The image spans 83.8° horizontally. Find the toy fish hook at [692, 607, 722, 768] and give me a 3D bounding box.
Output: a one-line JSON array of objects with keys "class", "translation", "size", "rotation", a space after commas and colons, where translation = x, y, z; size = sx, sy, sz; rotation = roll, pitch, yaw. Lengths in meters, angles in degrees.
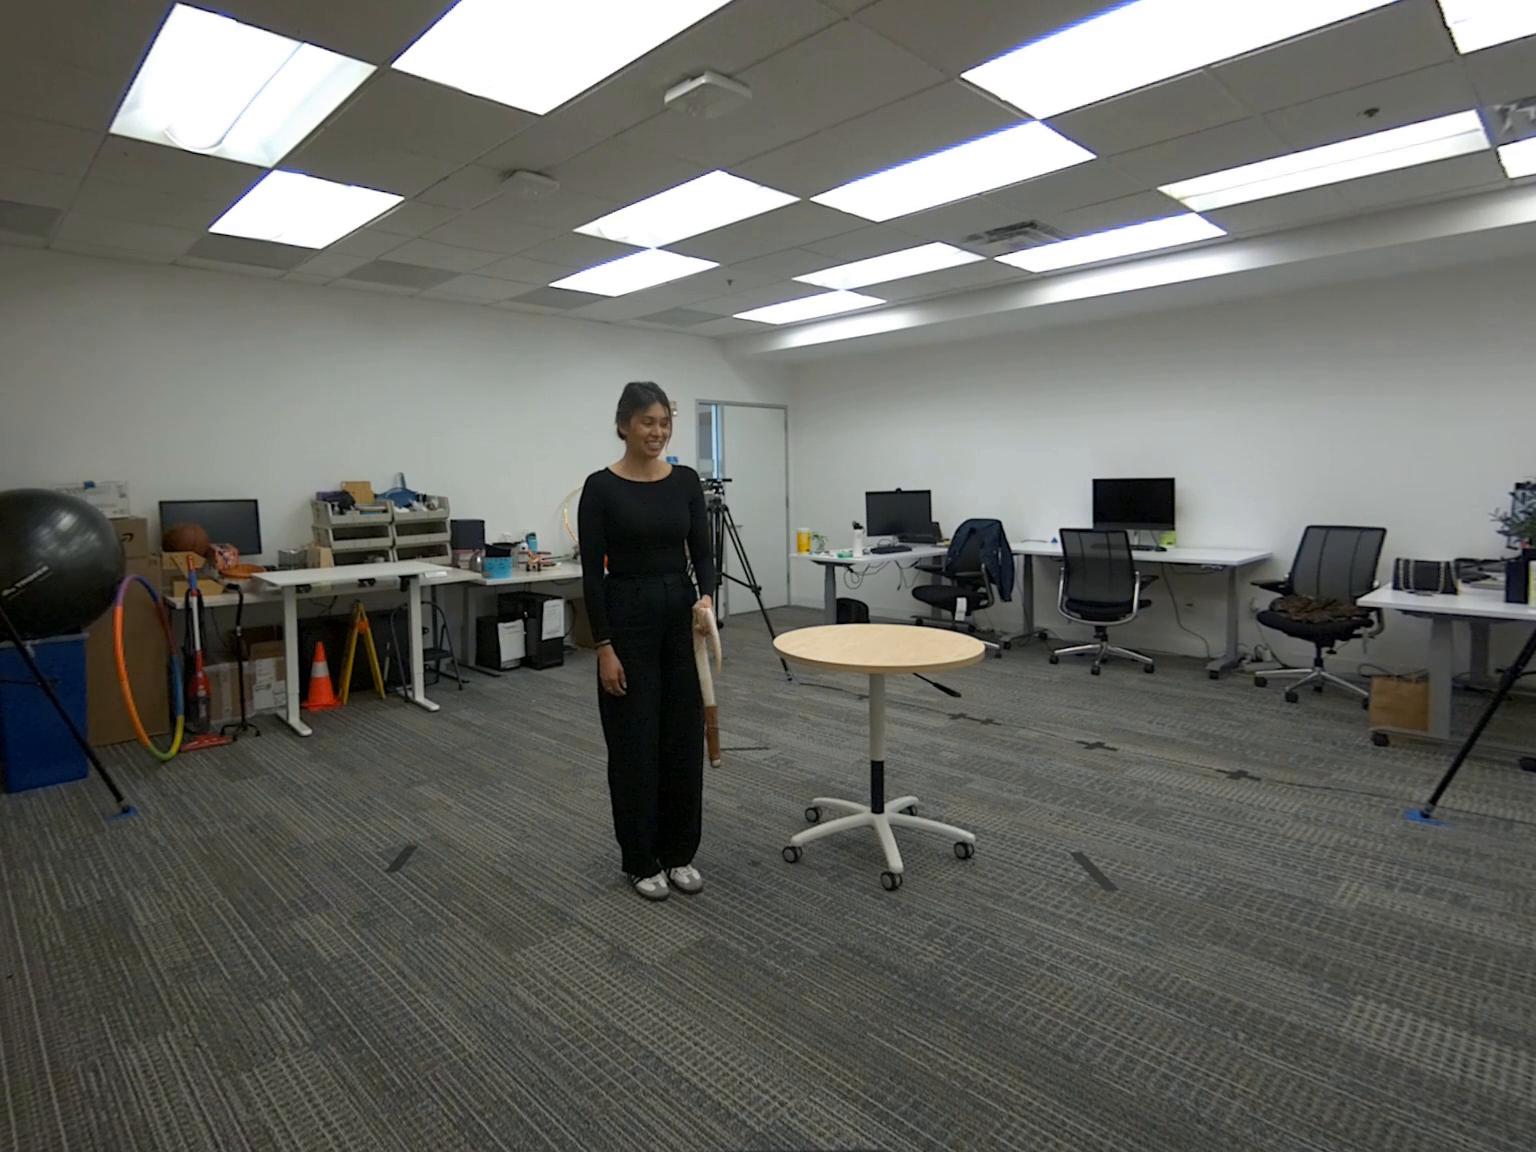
[{"class": "toy fish hook", "translation": [-0.166, 0.342, 2.635], "size": [0.048, 0.506, 0.227], "rotation": [-6, 1, -15]}]
